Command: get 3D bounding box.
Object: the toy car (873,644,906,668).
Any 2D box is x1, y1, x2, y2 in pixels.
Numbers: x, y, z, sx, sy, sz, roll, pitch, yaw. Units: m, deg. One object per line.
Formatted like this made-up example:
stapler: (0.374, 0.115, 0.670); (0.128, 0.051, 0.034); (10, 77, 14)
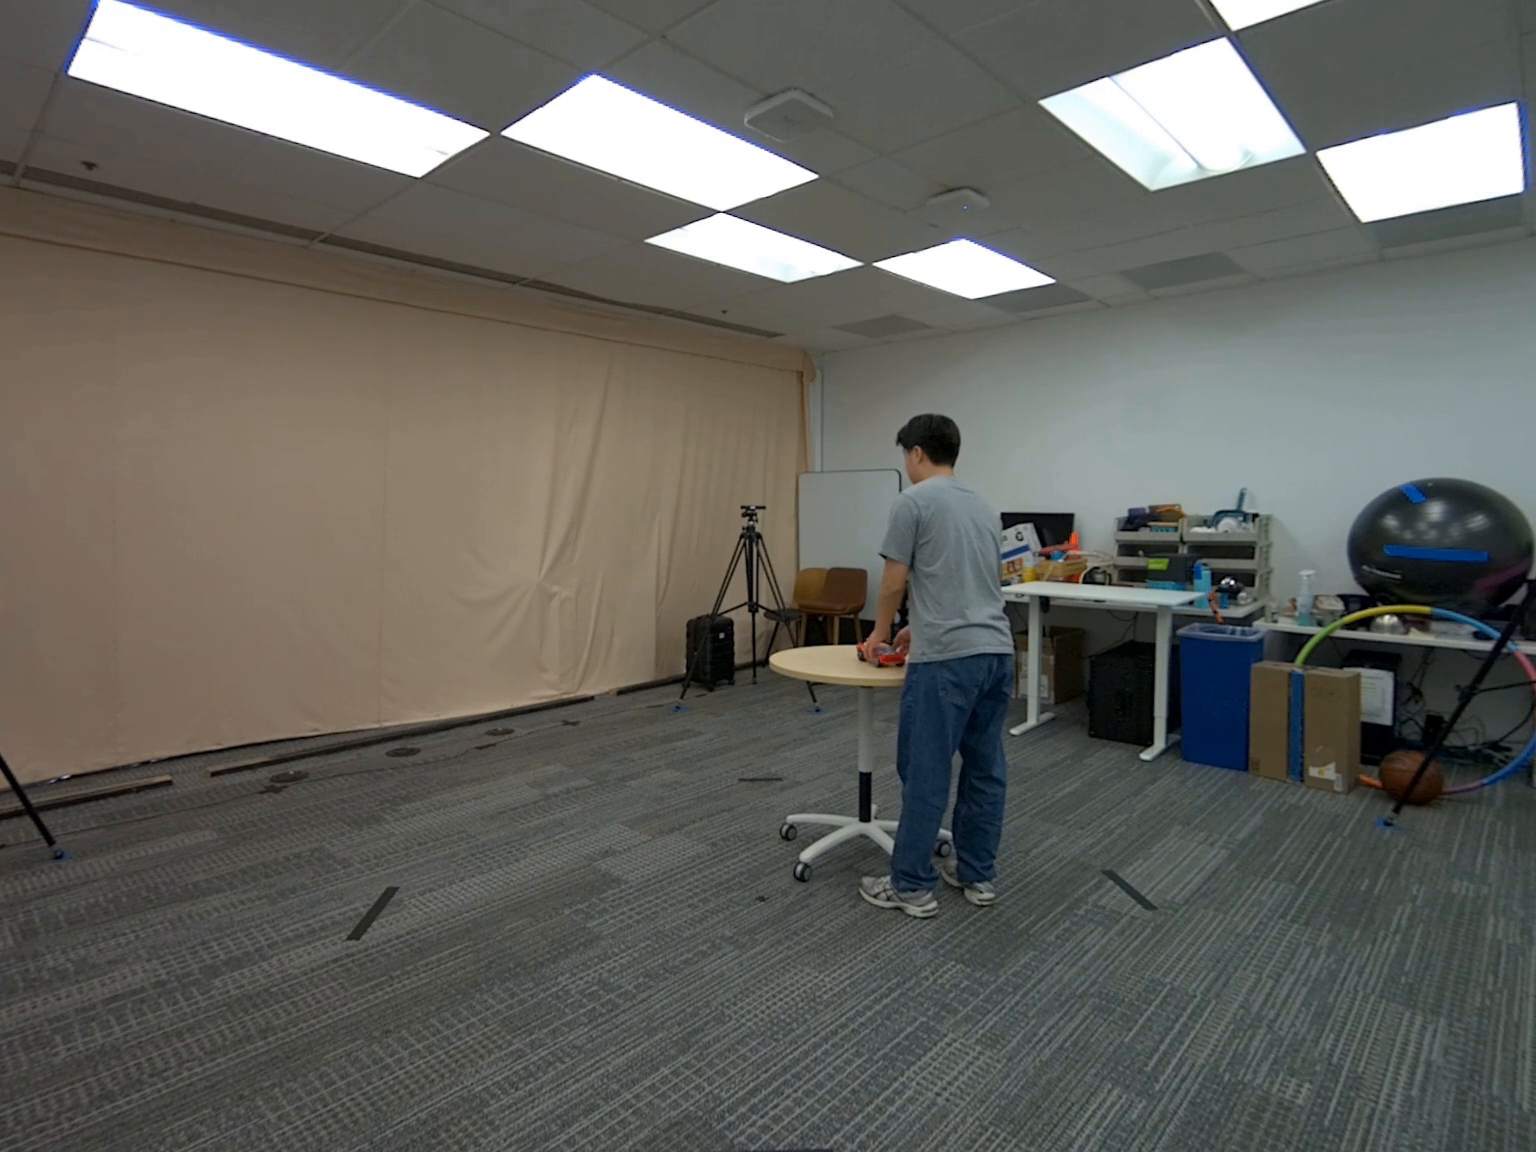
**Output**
toy car: (0.441, 0.305, 3.269); (0.128, 0.082, 0.261); (0, 15, -18)
